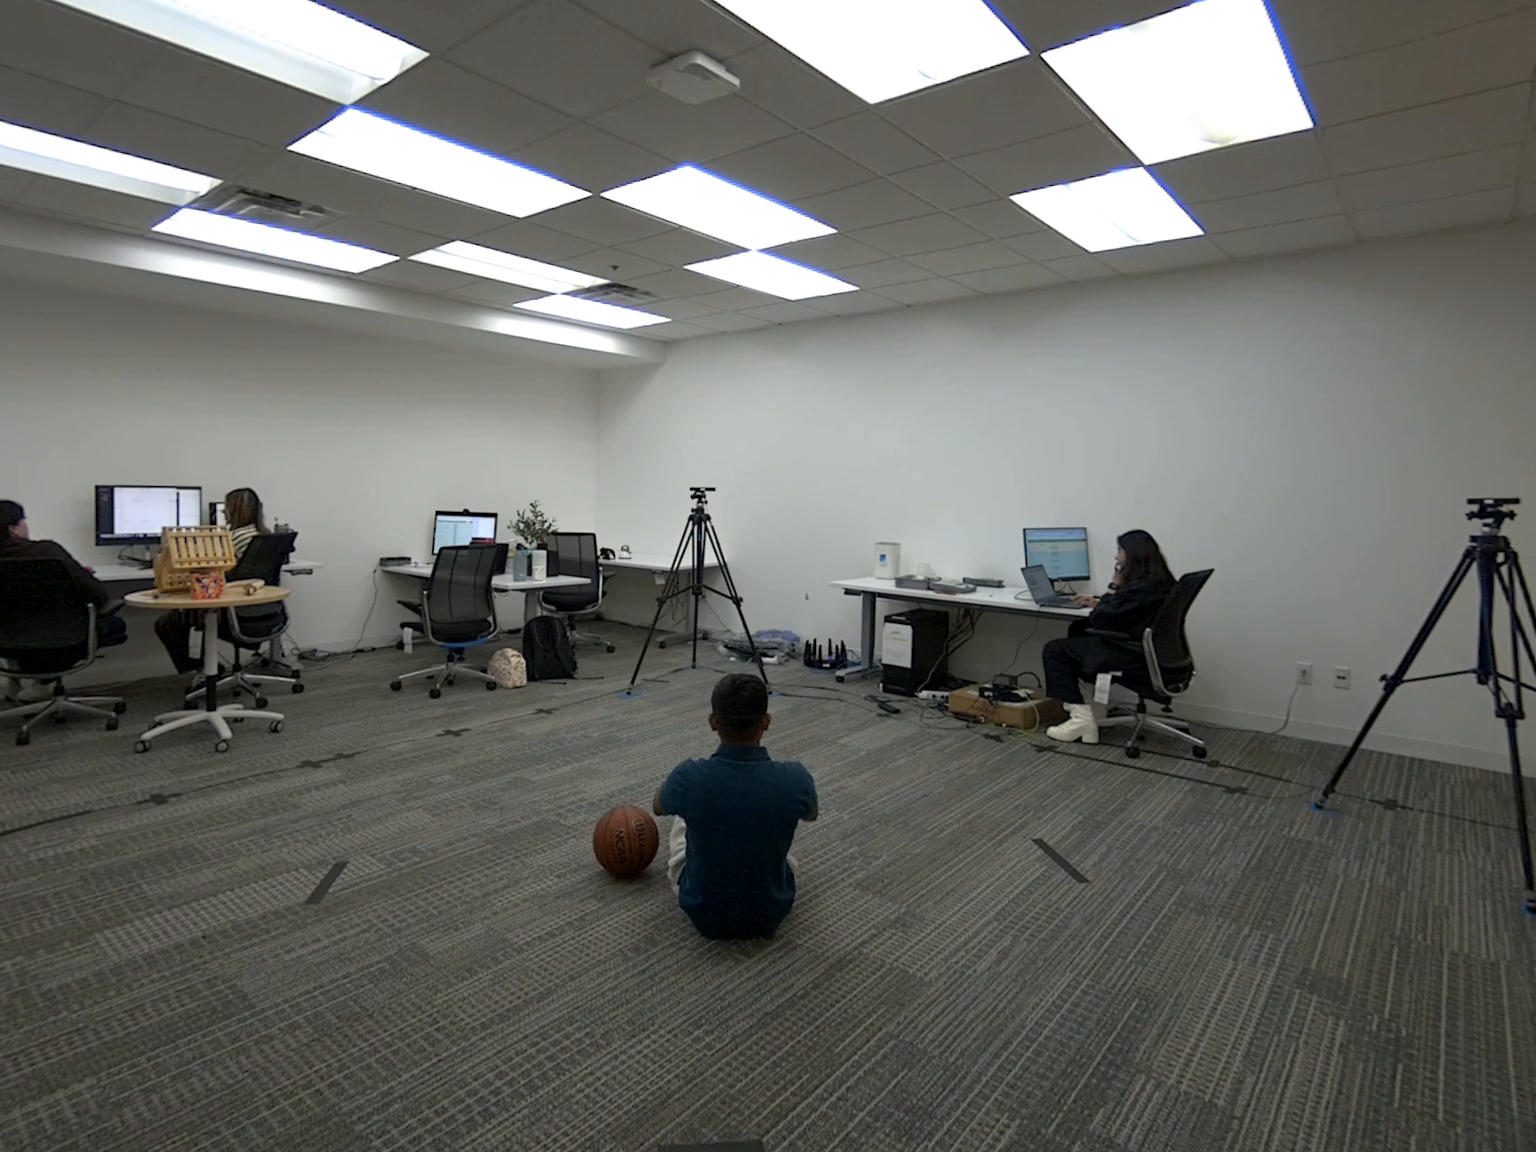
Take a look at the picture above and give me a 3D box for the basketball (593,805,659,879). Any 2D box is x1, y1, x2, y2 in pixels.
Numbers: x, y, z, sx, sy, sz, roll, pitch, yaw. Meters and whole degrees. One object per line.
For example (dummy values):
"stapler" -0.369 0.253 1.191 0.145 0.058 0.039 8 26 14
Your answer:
"basketball" -0.518 0.943 3.059 0.235 0.235 0.237 1 4 -2
